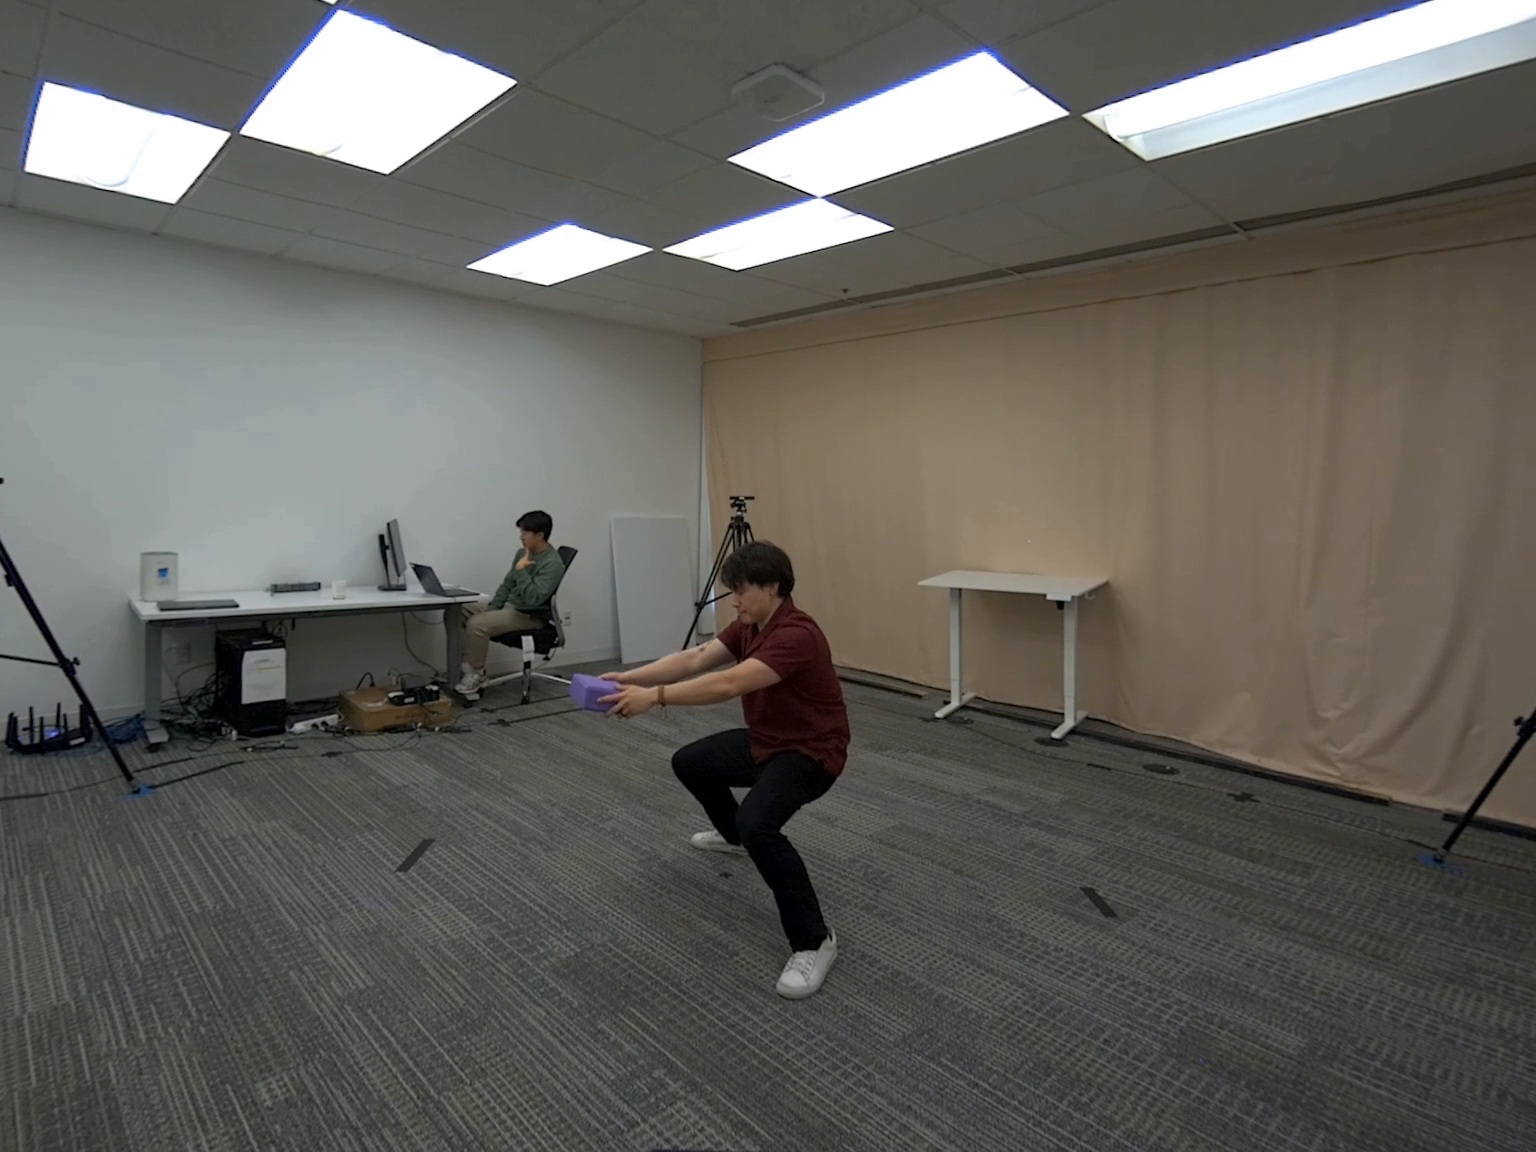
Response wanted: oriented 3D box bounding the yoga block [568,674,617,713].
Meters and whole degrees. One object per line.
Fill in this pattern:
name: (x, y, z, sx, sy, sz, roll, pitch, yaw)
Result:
yoga block: (-0.531, 0.362, 2.673, 0.146, 0.076, 0.233, 11, -1, -21)
